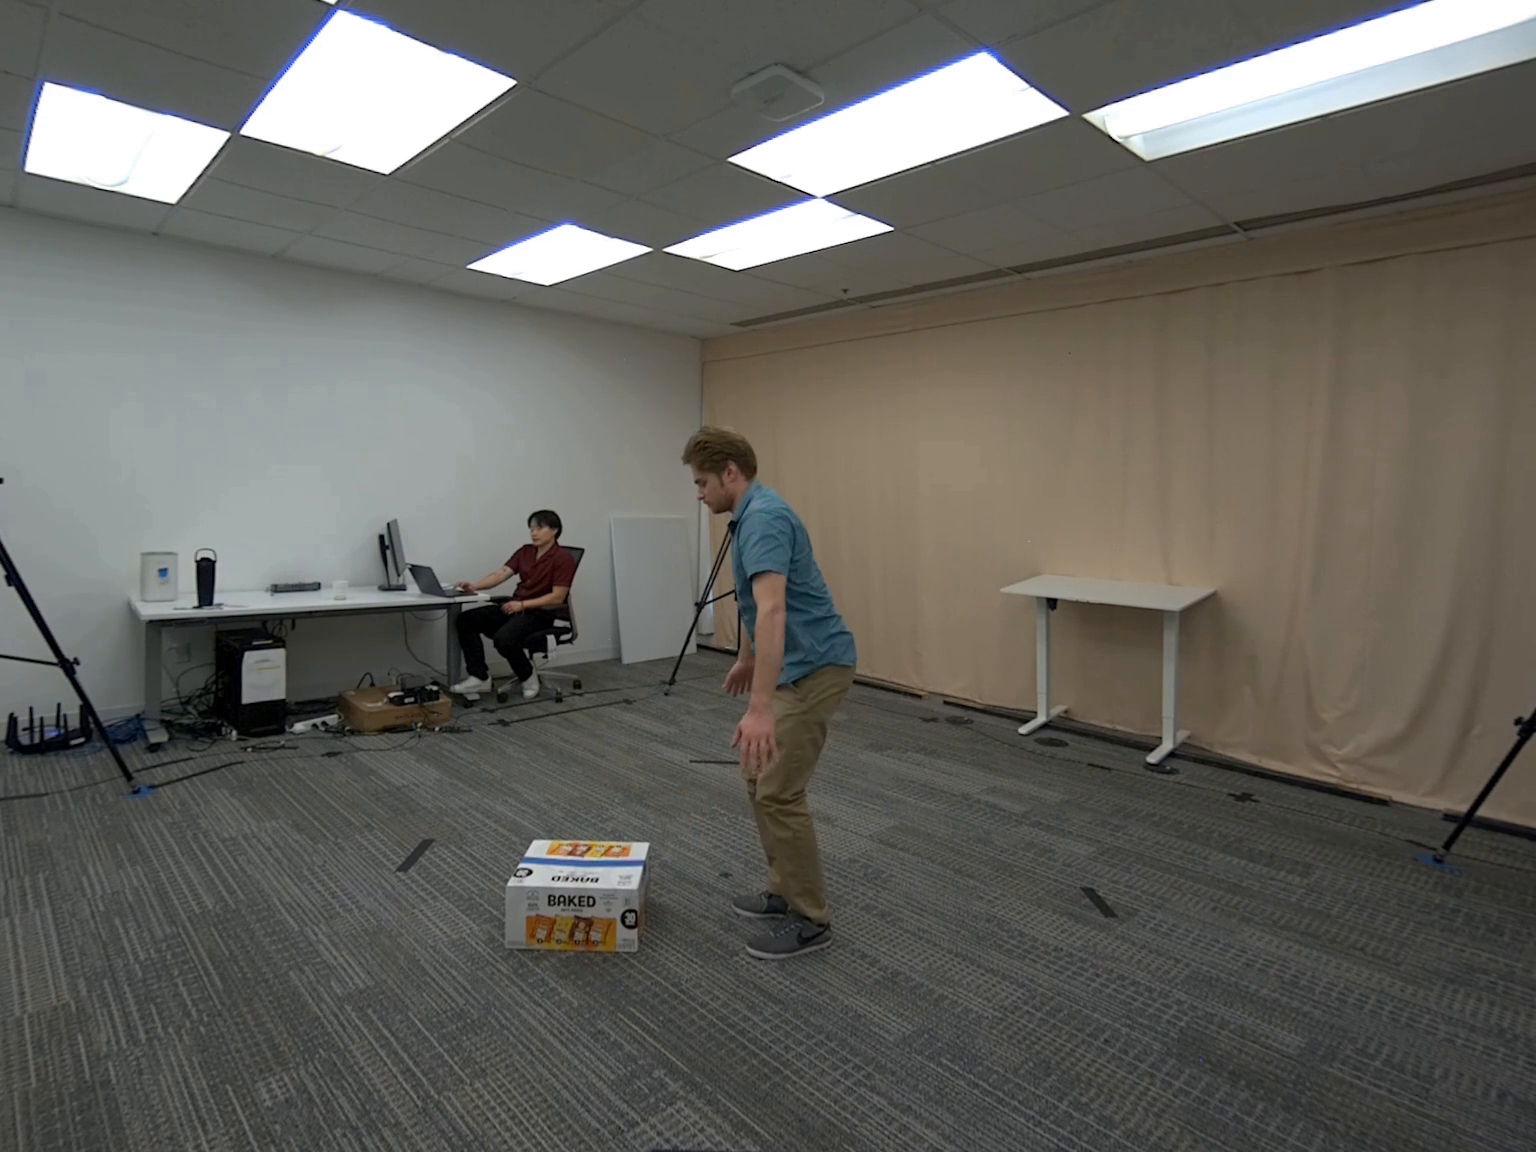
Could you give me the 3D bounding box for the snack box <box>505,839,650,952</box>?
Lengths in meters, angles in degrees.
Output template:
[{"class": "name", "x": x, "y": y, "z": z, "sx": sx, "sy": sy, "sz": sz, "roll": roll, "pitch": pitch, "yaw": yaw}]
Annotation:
[{"class": "snack box", "x": -0.616, "y": 1.024, "z": 2.721, "sx": 0.405, "sy": 0.205, "sz": 0.341, "roll": 1, "pitch": 5, "yaw": -1}]
